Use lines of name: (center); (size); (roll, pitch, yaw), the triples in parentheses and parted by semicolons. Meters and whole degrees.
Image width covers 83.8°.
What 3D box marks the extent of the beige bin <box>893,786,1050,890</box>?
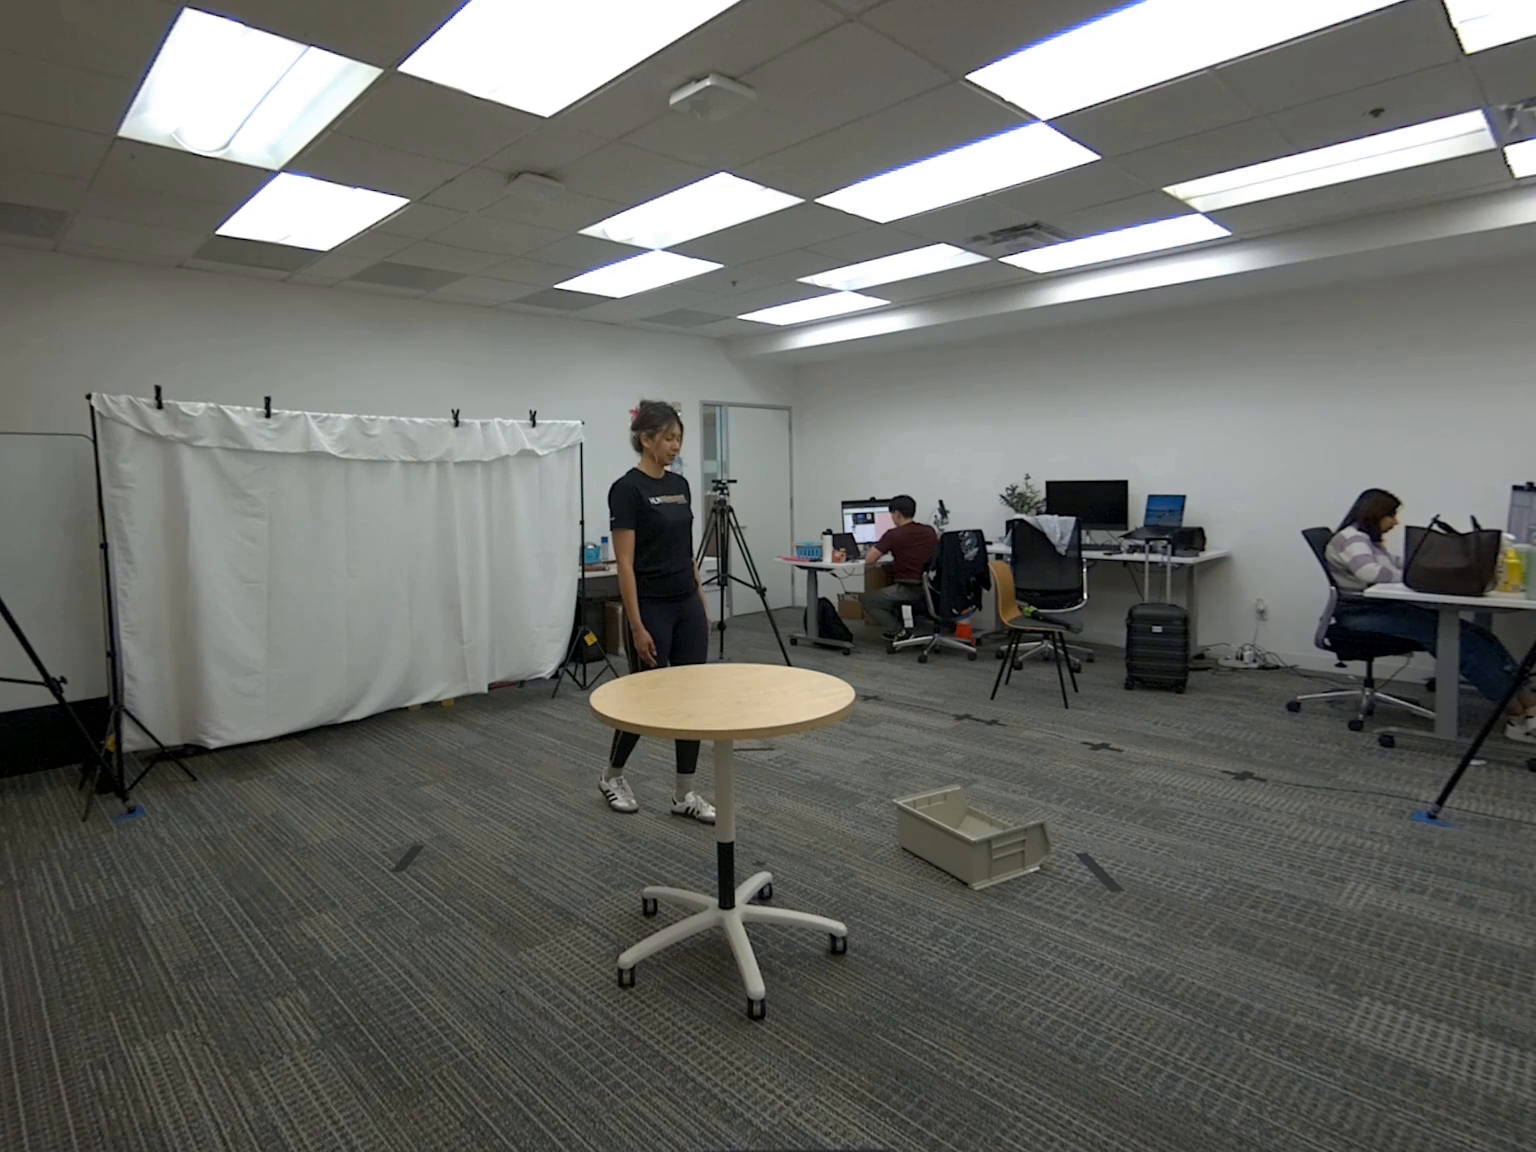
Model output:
beige bin: (0.742, 0.943, 3.132); (0.369, 0.188, 0.434); (-5, 7, -30)
